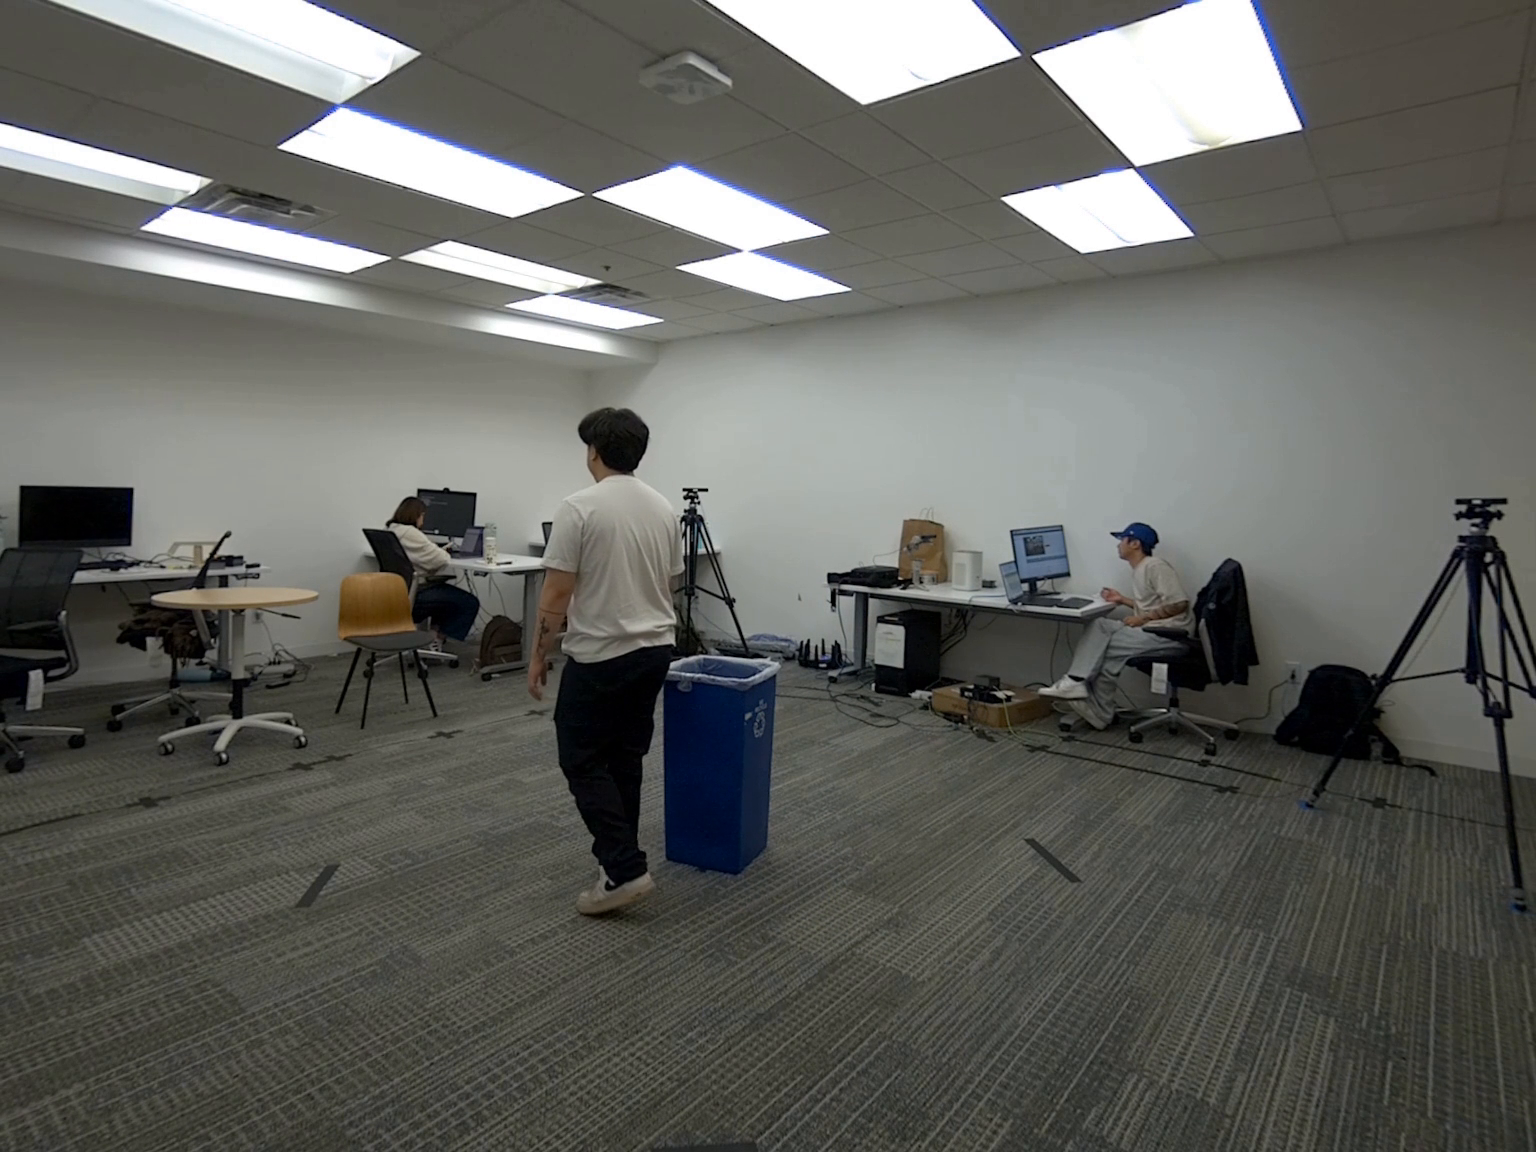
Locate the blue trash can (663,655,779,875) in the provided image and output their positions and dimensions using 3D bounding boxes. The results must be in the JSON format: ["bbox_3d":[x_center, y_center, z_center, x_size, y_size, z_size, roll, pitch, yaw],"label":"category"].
[{"bbox_3d":[-0.196,0.698,3.254,0.388,0.711,0.366,3,4,24],"label":"blue trash can"}]
